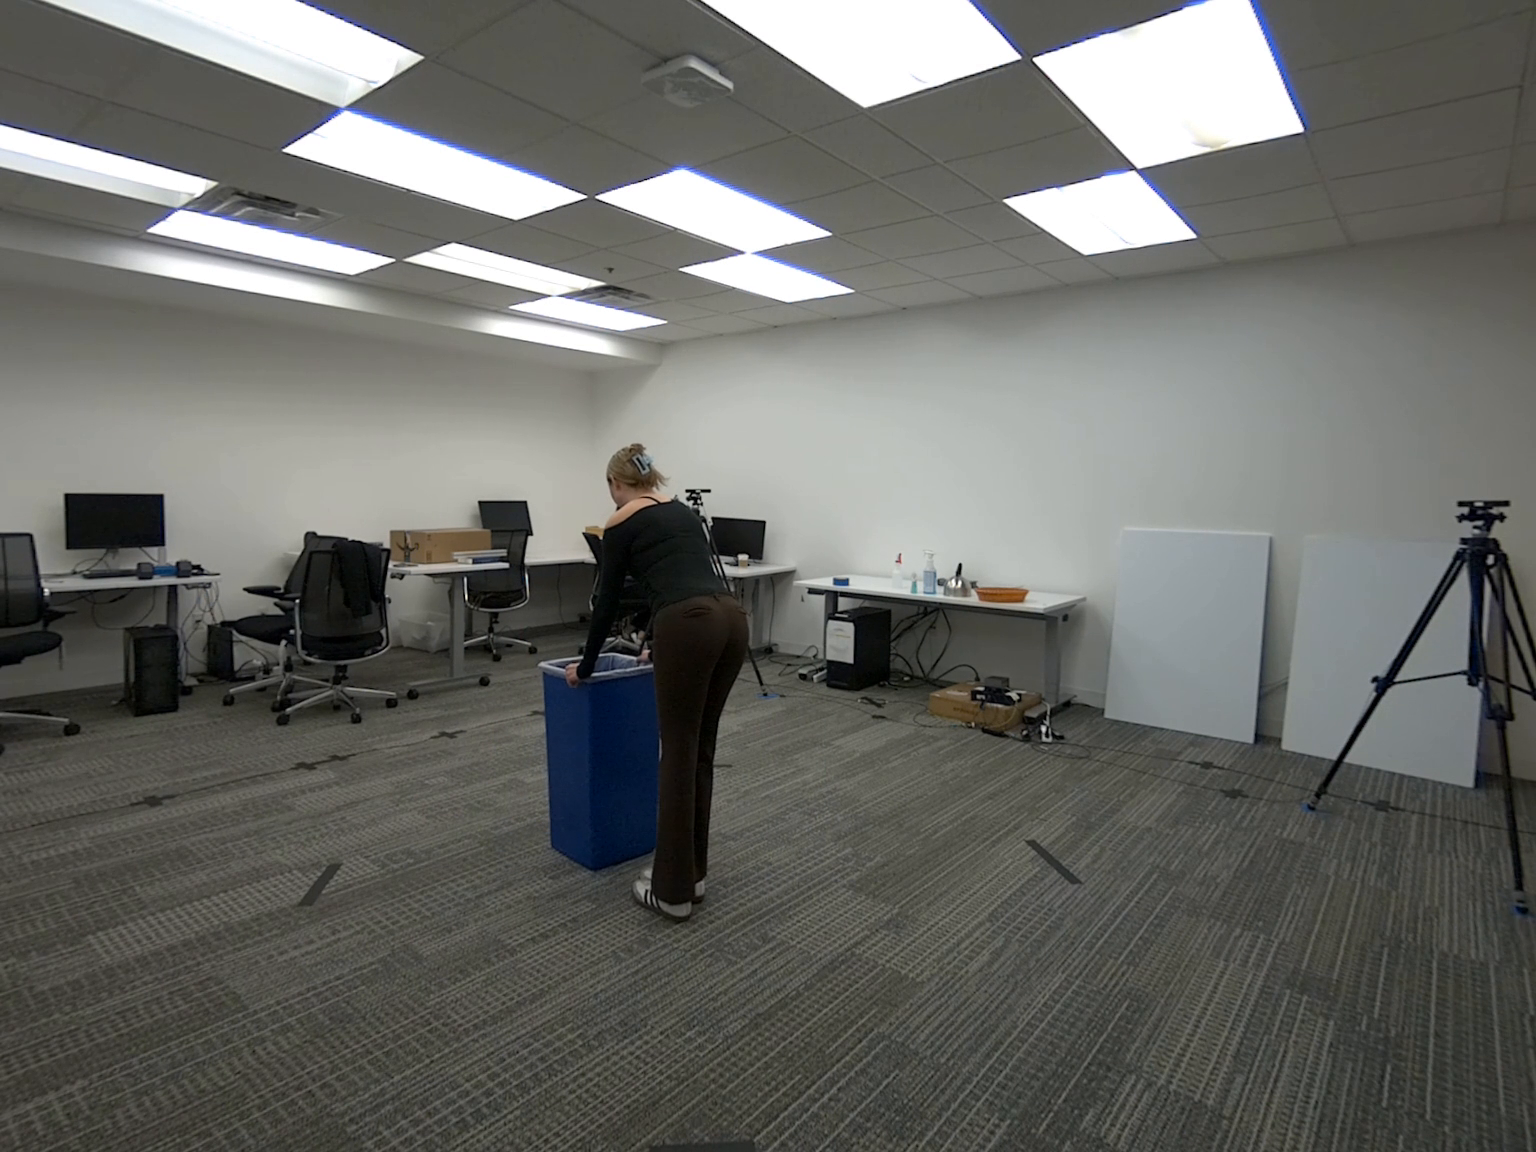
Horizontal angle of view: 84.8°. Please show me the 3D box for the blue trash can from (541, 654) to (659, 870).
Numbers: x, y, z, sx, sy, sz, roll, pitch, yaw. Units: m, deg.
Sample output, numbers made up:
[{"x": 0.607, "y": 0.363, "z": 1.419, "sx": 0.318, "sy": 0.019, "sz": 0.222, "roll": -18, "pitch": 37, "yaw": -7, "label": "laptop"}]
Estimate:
[{"x": -0.653, "y": 0.690, "z": 3.267, "sx": 0.362, "sy": 0.713, "sz": 0.390, "roll": -1, "pitch": 2, "yaw": -44, "label": "blue trash can"}]
